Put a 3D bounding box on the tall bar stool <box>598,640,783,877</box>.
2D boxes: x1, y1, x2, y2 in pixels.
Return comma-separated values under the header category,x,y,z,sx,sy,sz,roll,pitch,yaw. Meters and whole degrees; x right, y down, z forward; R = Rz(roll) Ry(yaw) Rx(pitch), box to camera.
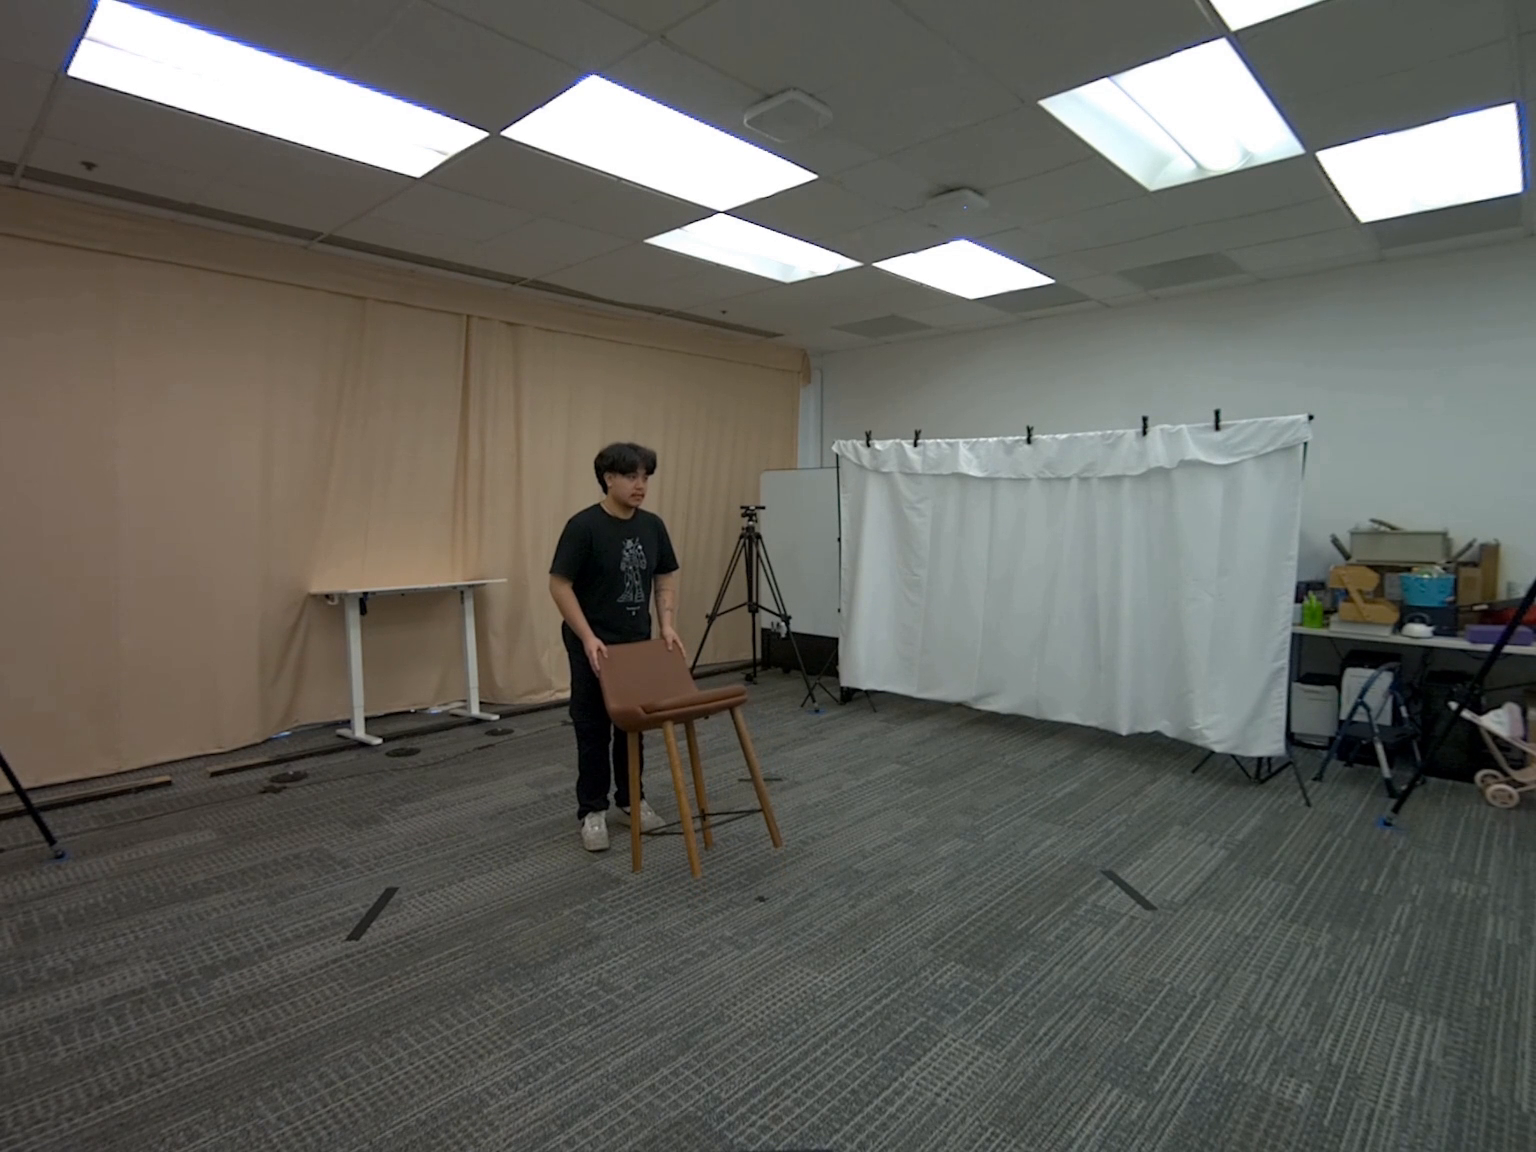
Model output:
category,x,y,z,sx,sy,sz,roll,pitch,yaw
tall bar stool,-0.329,0.647,3.241,0.443,0.899,0.477,-3,-15,-39
